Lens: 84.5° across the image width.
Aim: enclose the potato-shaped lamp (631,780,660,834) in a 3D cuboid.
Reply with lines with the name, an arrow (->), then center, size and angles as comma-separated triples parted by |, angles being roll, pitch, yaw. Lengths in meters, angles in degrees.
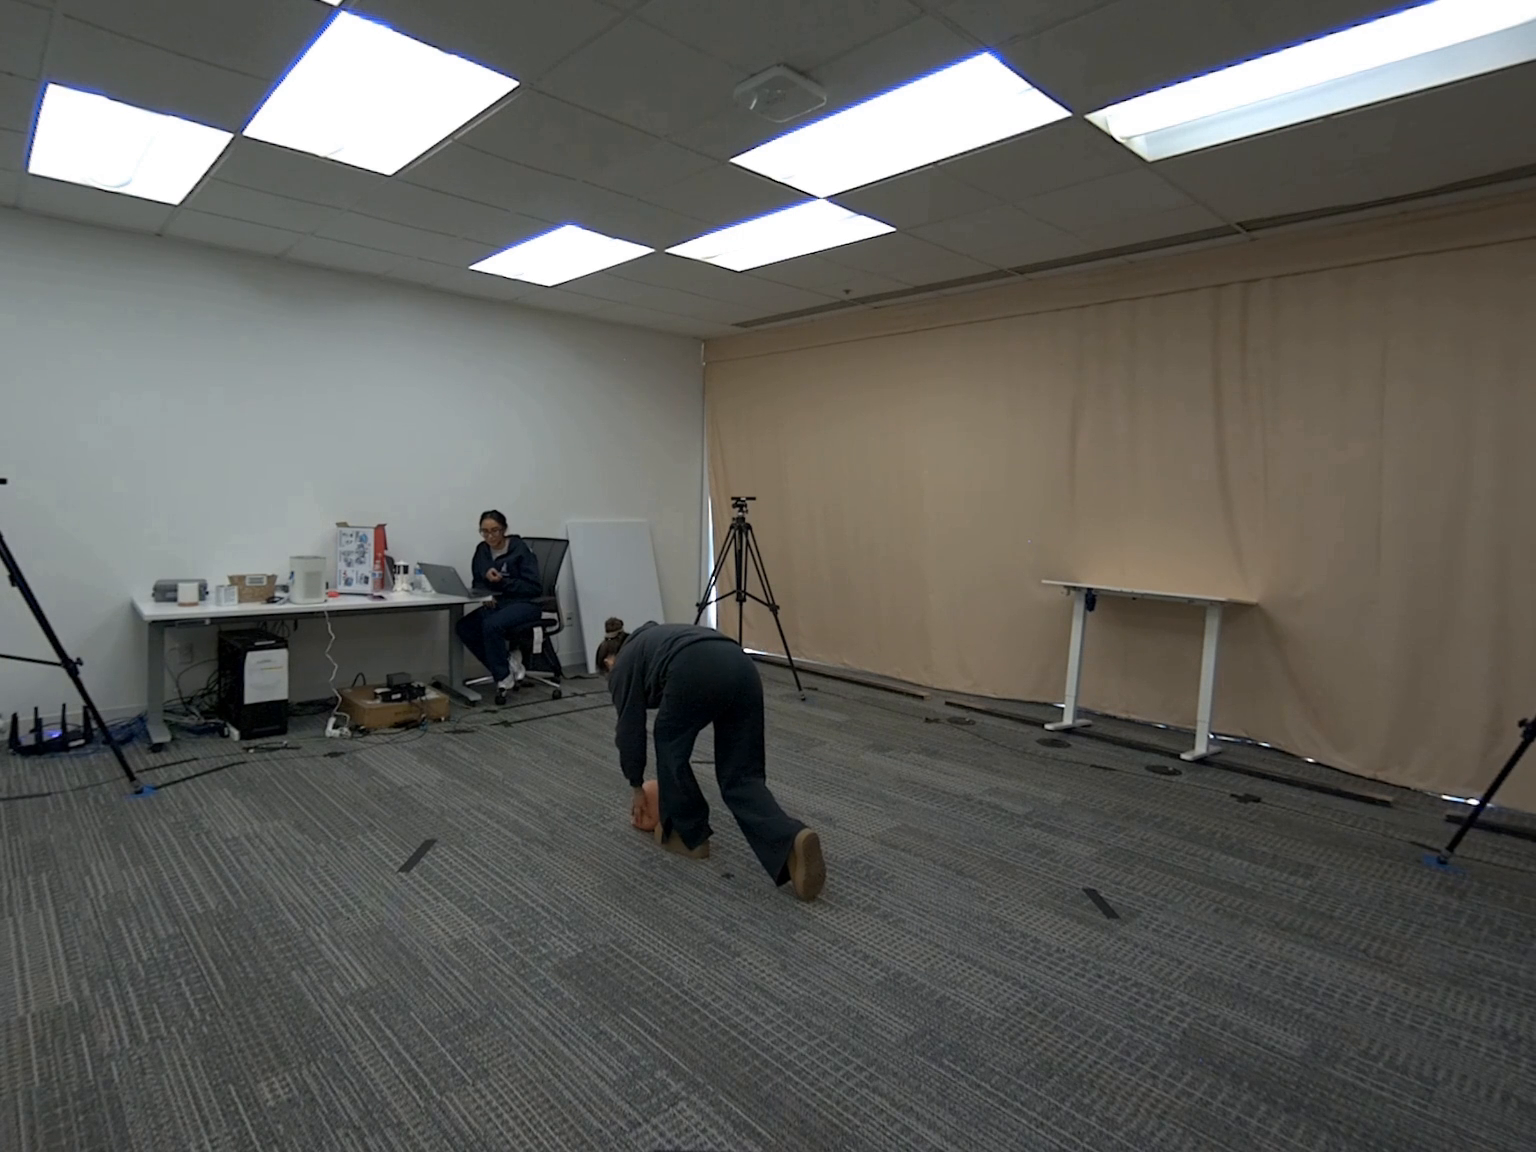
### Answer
potato-shaped lamp -> -0.495, 0.953, 3.554 | 0.176, 0.197, 0.161 | 11, 10, 38
